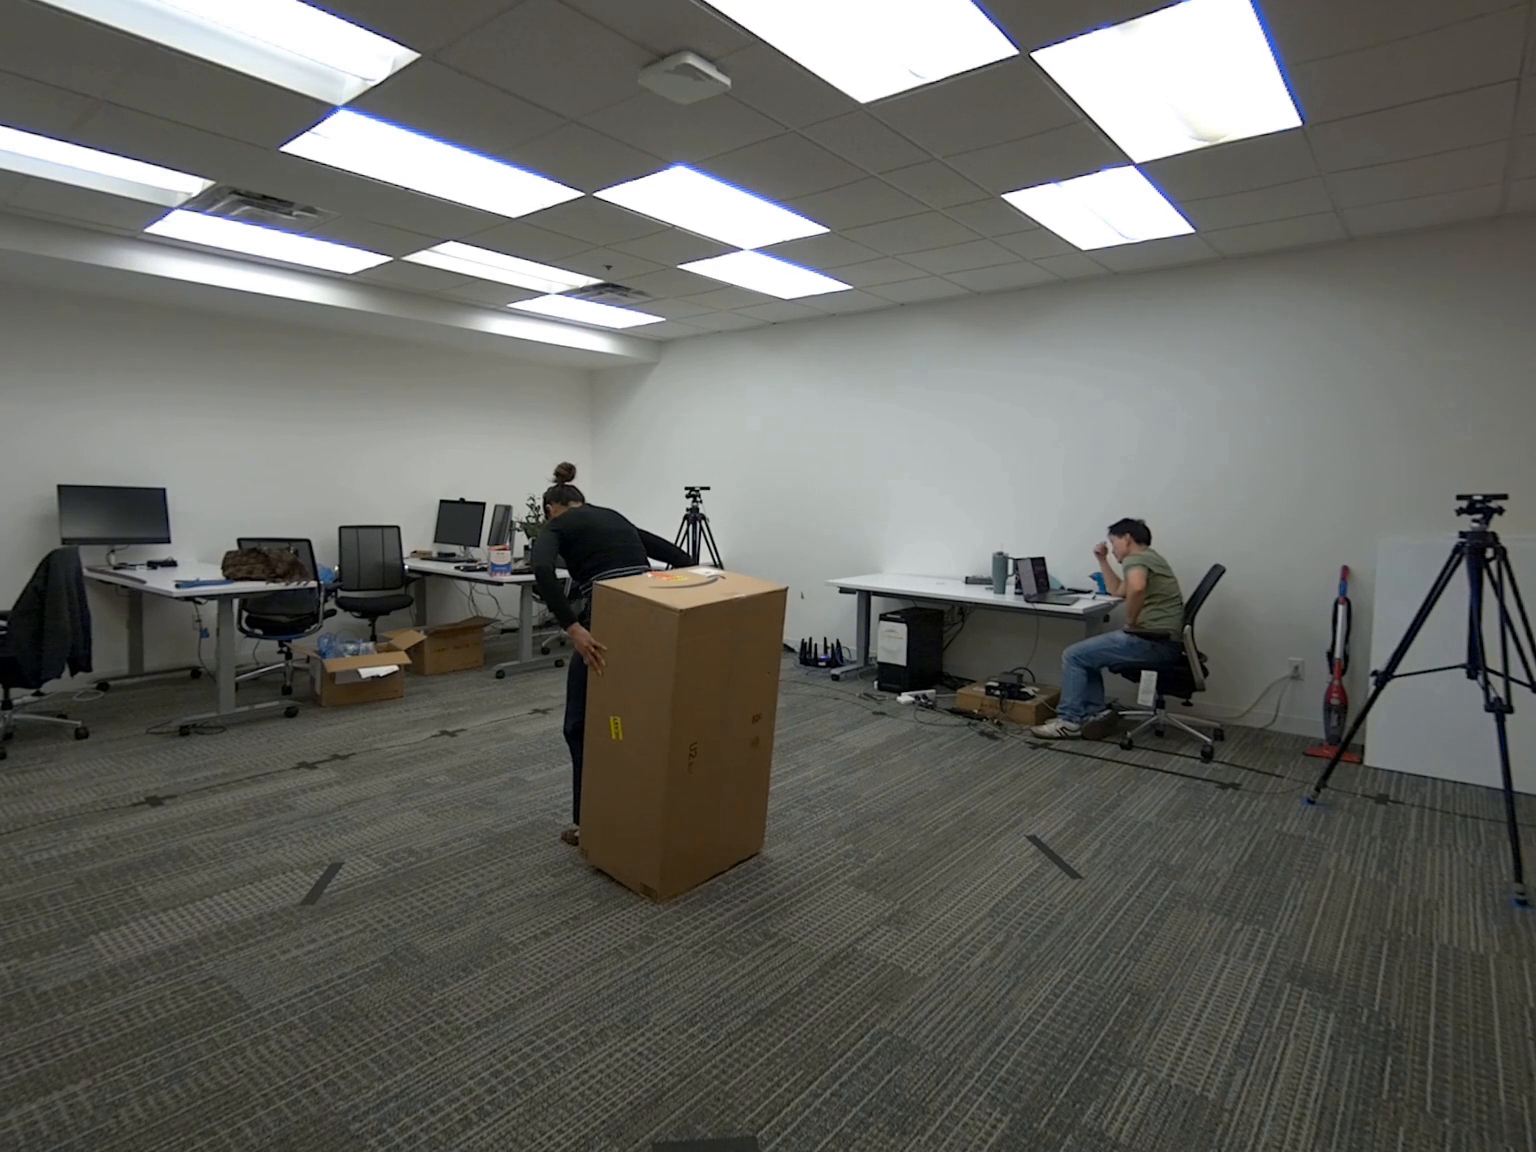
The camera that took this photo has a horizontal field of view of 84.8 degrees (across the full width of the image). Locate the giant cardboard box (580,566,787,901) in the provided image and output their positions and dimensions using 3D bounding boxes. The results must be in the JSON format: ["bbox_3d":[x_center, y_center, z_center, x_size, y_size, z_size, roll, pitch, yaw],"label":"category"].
[{"bbox_3d":[-0.314,0.528,3.077,0.442,1.016,0.562,13,13,37],"label":"giant cardboard box"}]
